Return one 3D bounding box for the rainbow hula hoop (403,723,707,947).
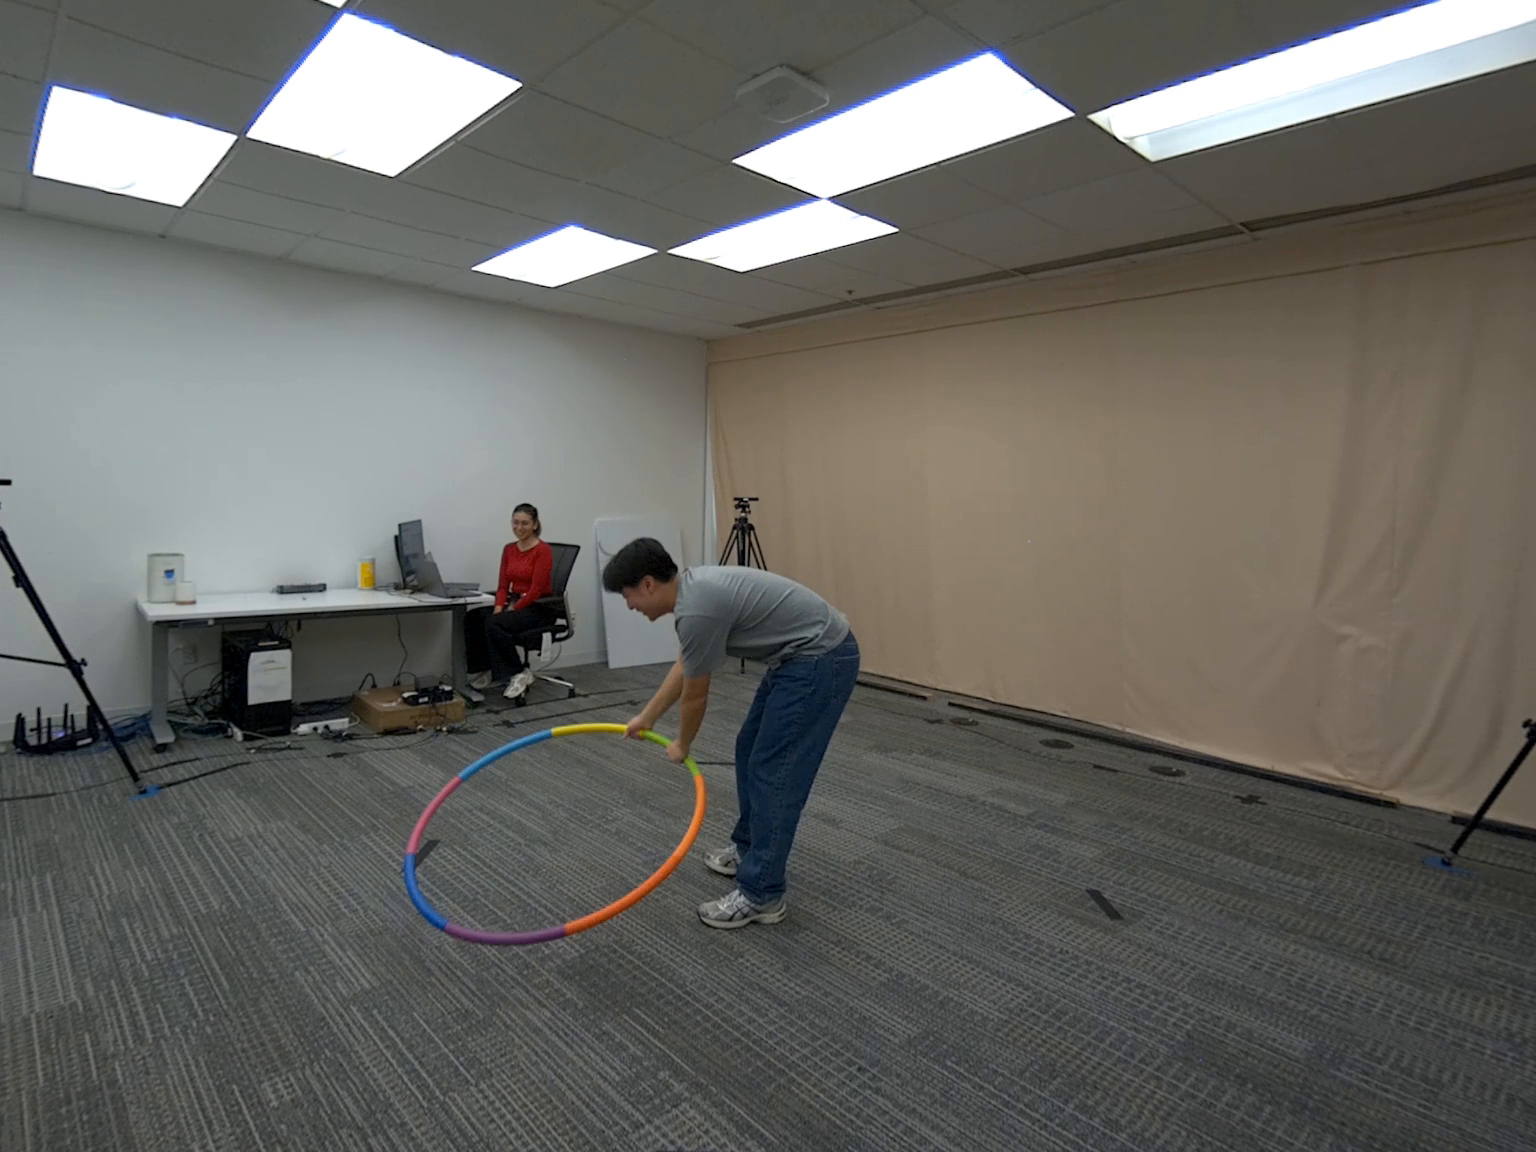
[{"bbox_3d":[-0.692,0.781,2.754,0.980,0.035,0.995,-8,25,2],"label":"rainbow hula hoop"}]
